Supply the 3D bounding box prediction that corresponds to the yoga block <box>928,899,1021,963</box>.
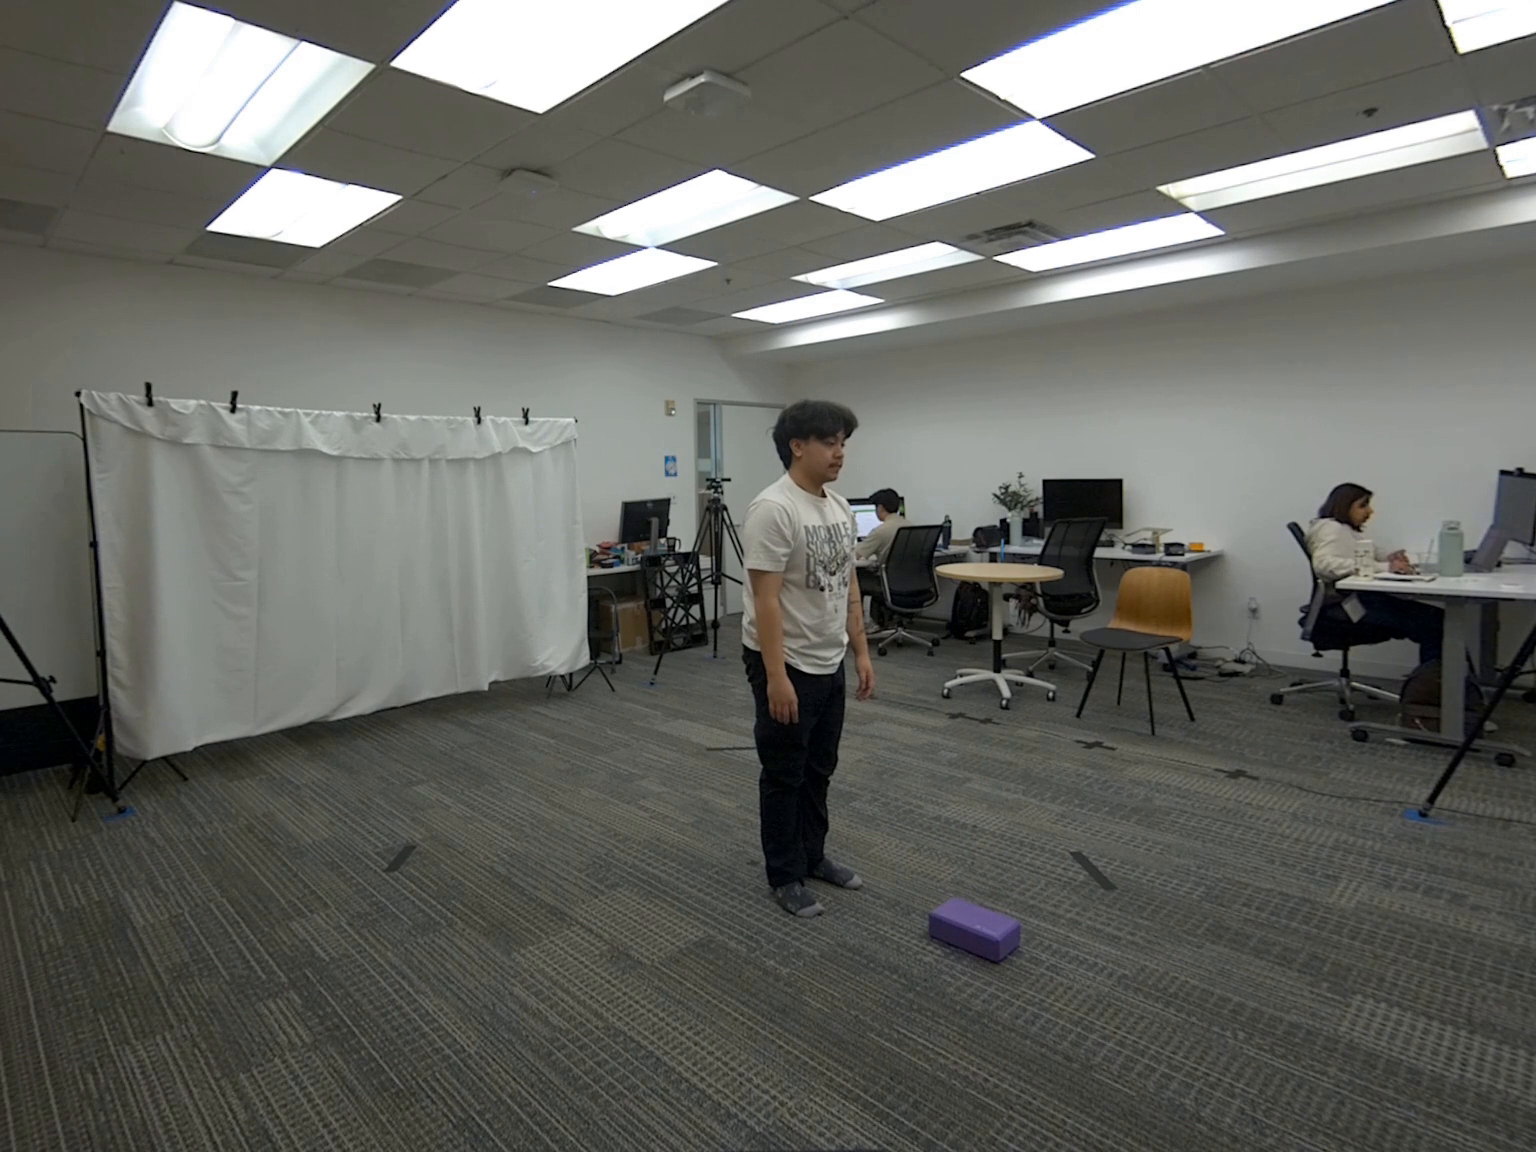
[{"bbox_3d":[0.622,1.054,2.554,0.236,0.076,0.145,5,8,44],"label":"yoga block"}]
